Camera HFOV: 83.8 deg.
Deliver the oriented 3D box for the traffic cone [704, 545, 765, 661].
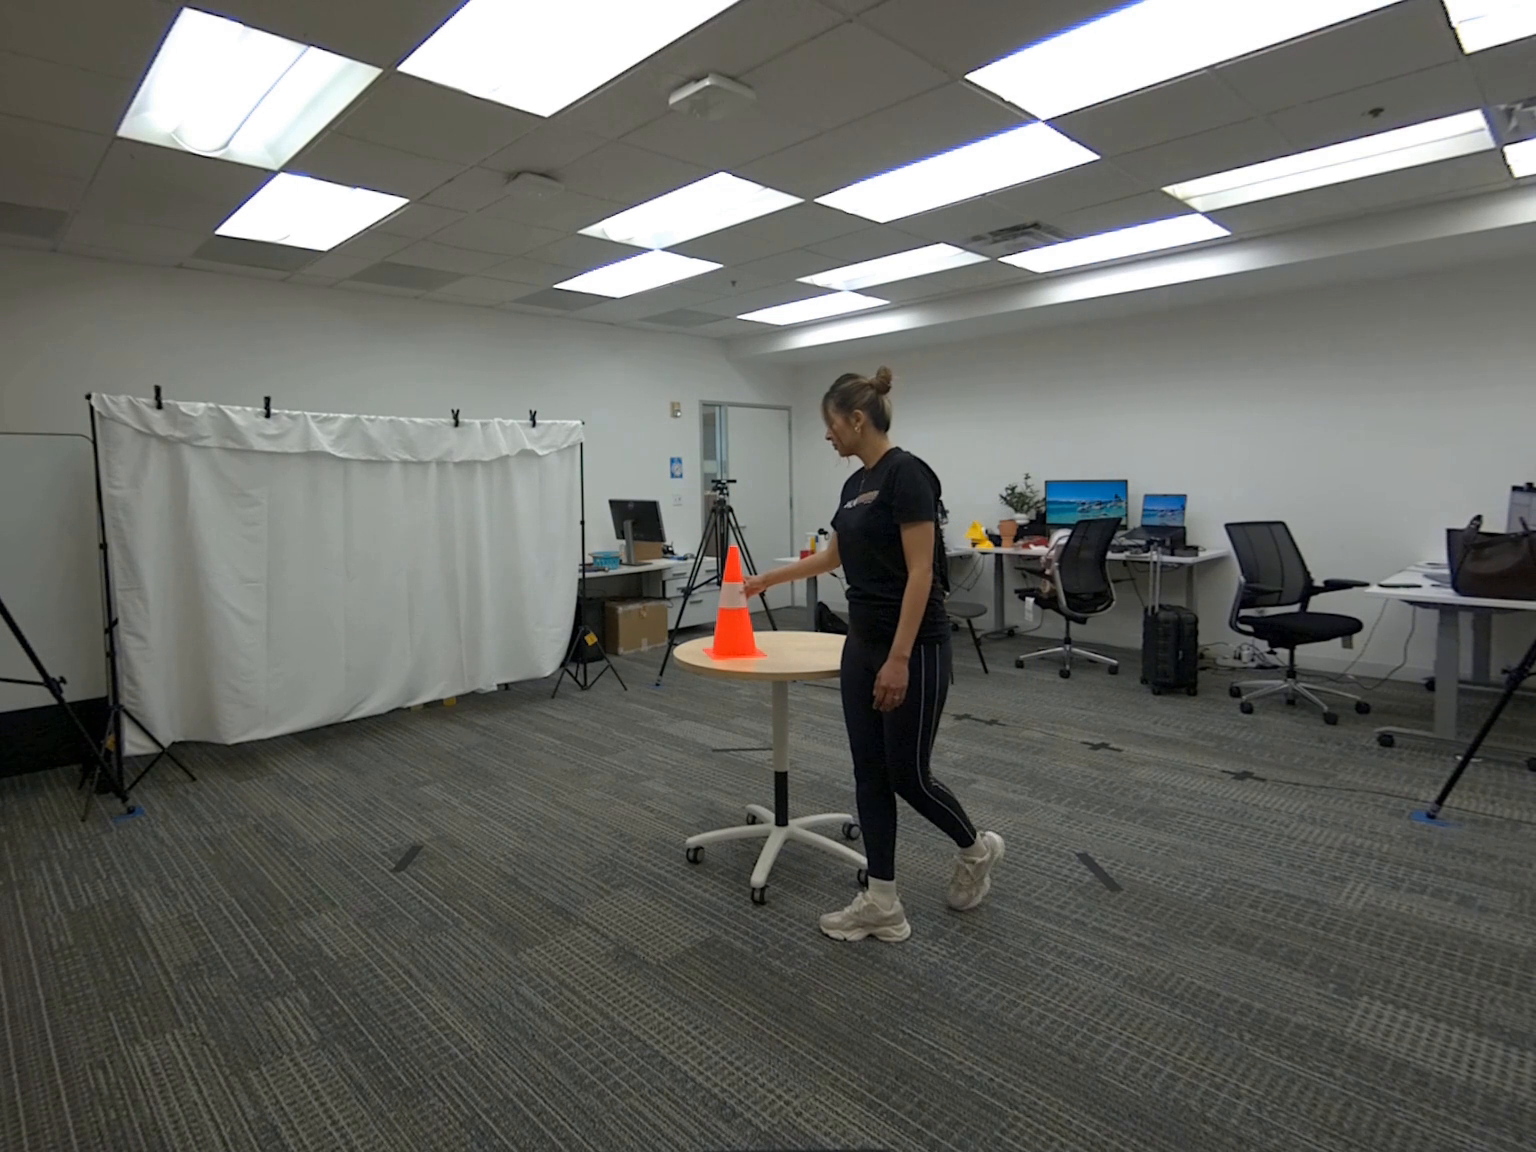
[{"bbox_3d":[-0.117,0.088,3.003,0.200,0.381,0.209,-3,8,-17],"label":"traffic cone"}]
